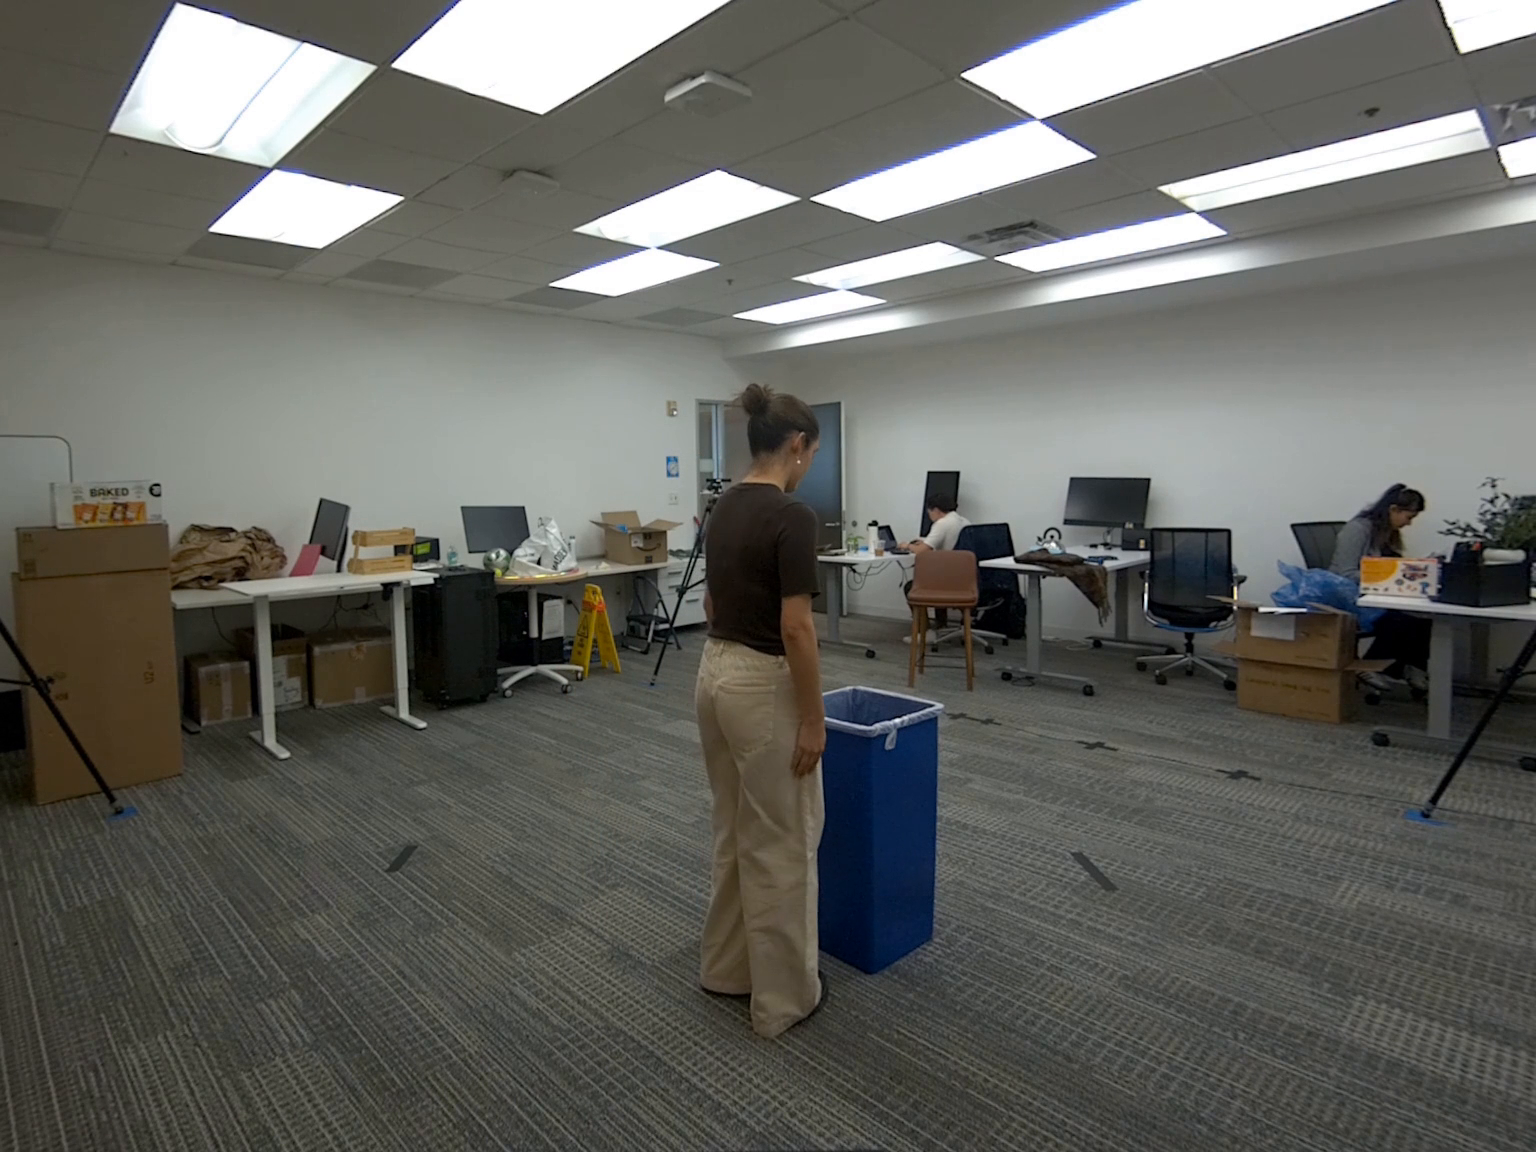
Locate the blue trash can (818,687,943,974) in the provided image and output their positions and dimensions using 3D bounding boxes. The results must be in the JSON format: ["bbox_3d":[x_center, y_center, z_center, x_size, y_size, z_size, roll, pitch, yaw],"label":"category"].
[{"bbox_3d":[0.296,0.741,2.586,0.364,0.711,0.389,-5,6,-43],"label":"blue trash can"}]
